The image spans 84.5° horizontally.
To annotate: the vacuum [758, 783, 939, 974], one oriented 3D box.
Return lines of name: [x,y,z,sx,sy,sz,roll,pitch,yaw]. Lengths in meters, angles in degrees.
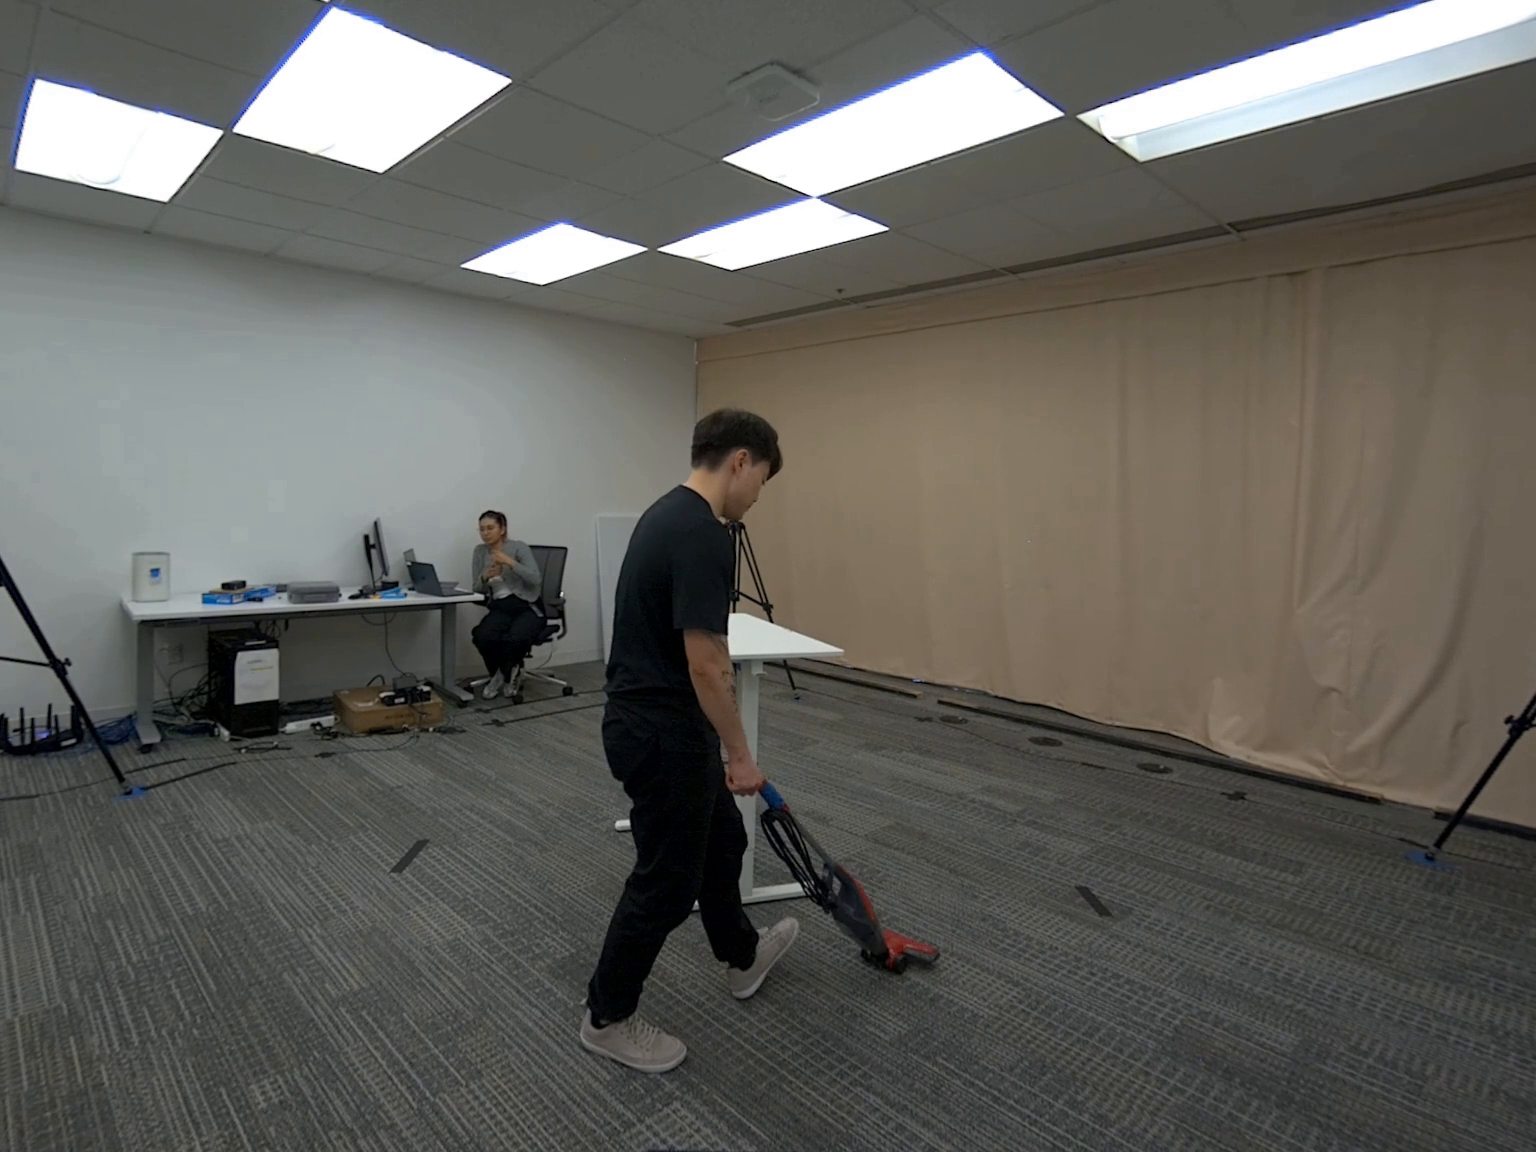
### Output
vacuum: [0.163,0.817,2.263,0.258,0.145,1.018,2,-40,36]
